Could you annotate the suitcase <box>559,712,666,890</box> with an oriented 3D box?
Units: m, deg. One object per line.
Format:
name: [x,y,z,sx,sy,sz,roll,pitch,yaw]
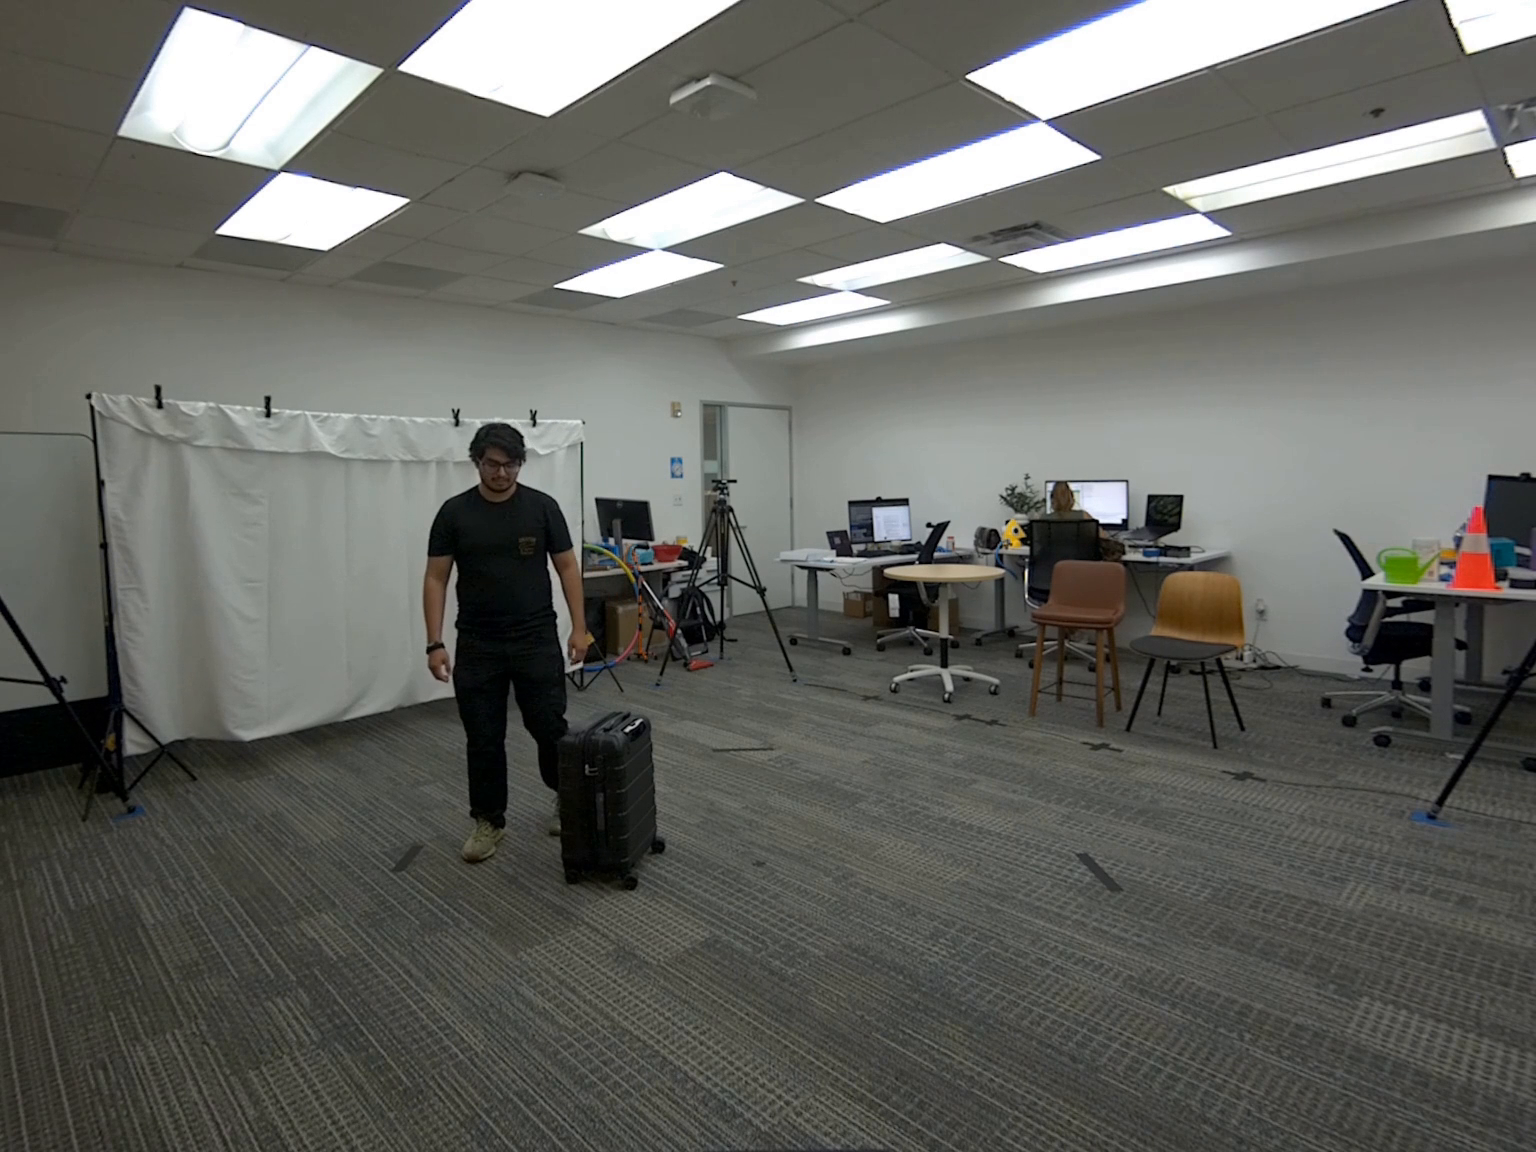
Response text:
suitcase: [-0.577,0.782,3.089,0.252,0.547,0.372,-2,4,13]
